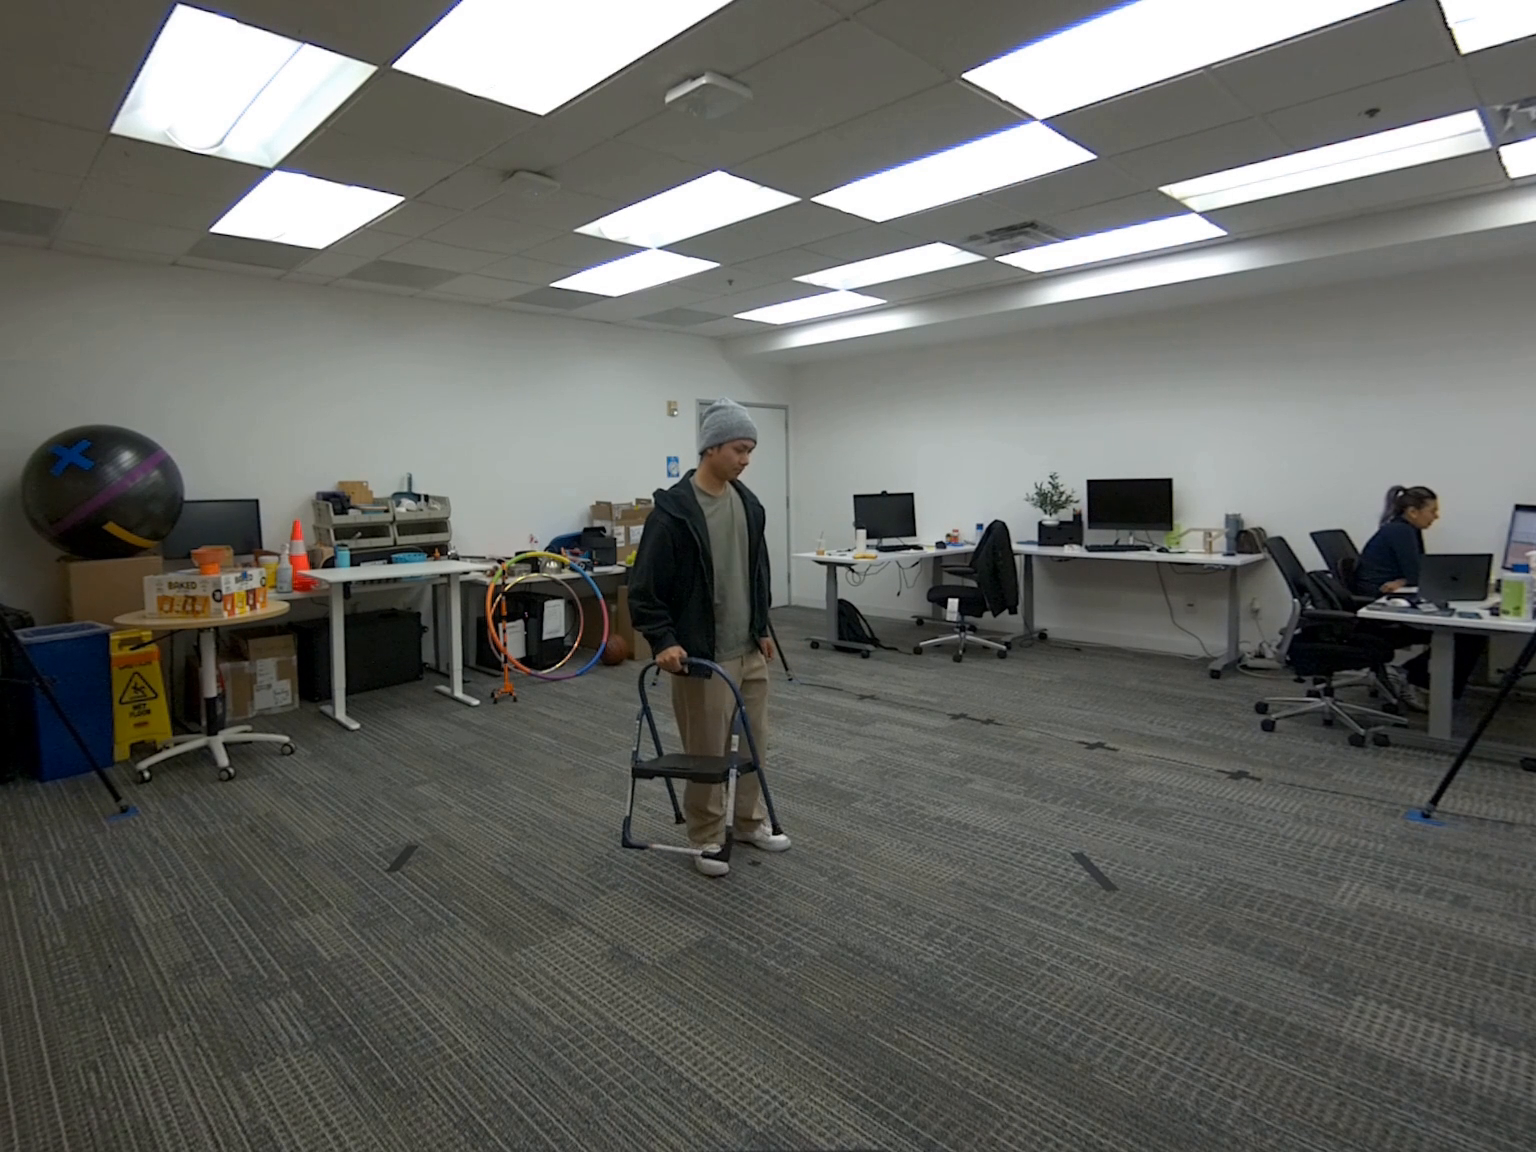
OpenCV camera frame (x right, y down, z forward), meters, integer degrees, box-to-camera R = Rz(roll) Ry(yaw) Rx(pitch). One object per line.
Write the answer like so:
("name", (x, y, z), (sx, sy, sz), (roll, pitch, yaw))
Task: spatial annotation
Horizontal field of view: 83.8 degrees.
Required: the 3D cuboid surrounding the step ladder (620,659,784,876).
("step ladder", (-0.236, 0.579, 2.833), (0.441, 0.608, 0.340), (-6, -4, 31))
